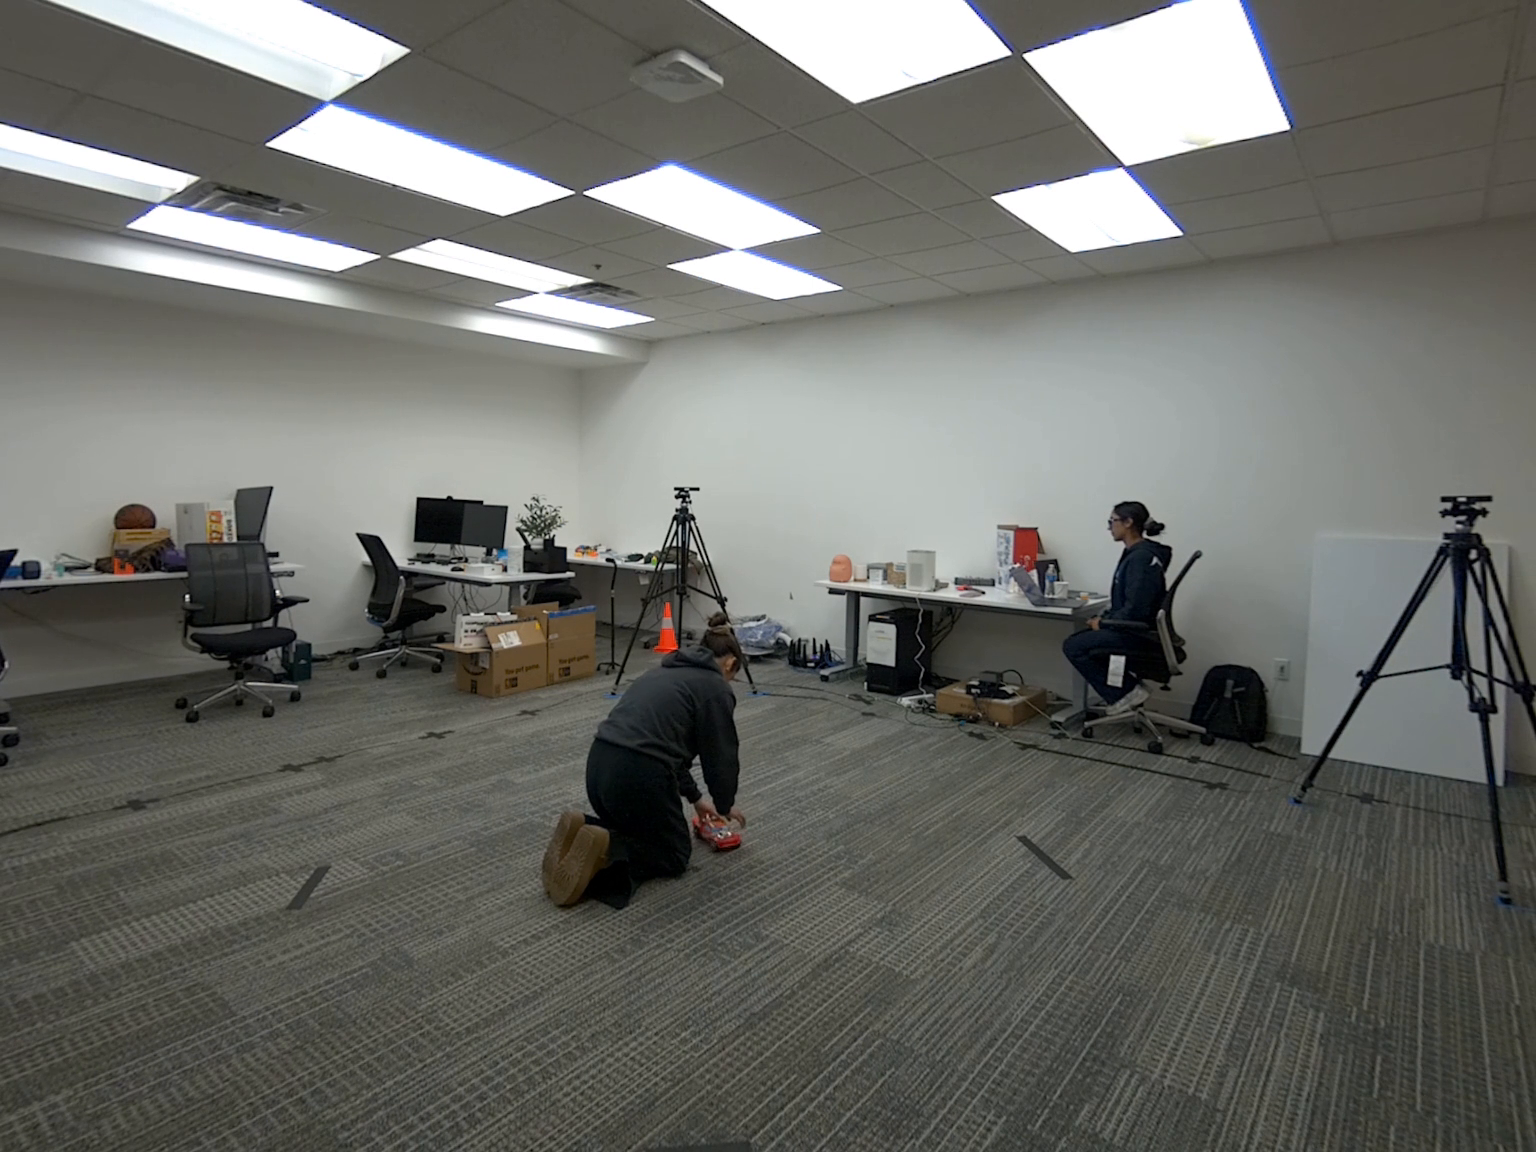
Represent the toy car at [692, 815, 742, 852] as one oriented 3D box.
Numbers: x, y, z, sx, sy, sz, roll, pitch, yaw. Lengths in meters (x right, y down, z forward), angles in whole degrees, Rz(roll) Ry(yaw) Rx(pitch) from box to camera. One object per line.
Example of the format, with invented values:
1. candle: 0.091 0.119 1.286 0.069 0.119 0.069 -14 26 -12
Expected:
1. toy car: -0.212 1.006 3.366 0.127 0.082 0.264 -5 19 -26
